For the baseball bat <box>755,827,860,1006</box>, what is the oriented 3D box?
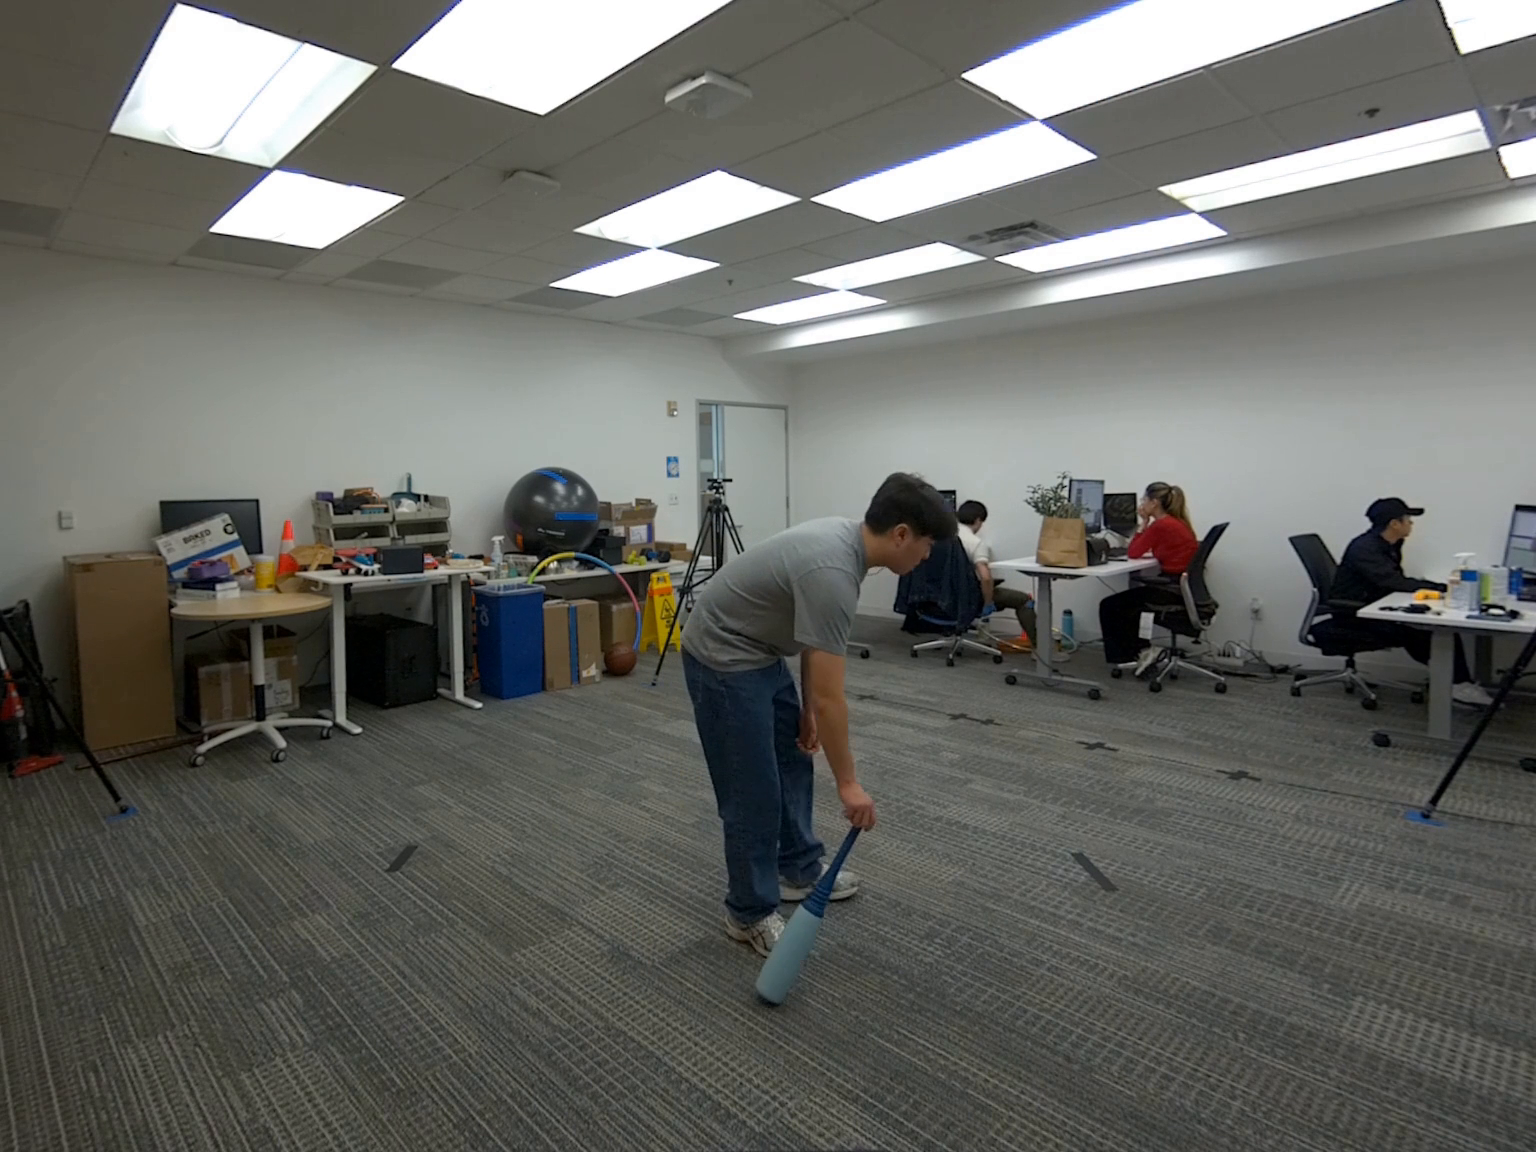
[{"bbox_3d":[0.134,0.897,2.316,0.089,0.544,0.088,28,-6,1],"label":"baseball bat"}]
